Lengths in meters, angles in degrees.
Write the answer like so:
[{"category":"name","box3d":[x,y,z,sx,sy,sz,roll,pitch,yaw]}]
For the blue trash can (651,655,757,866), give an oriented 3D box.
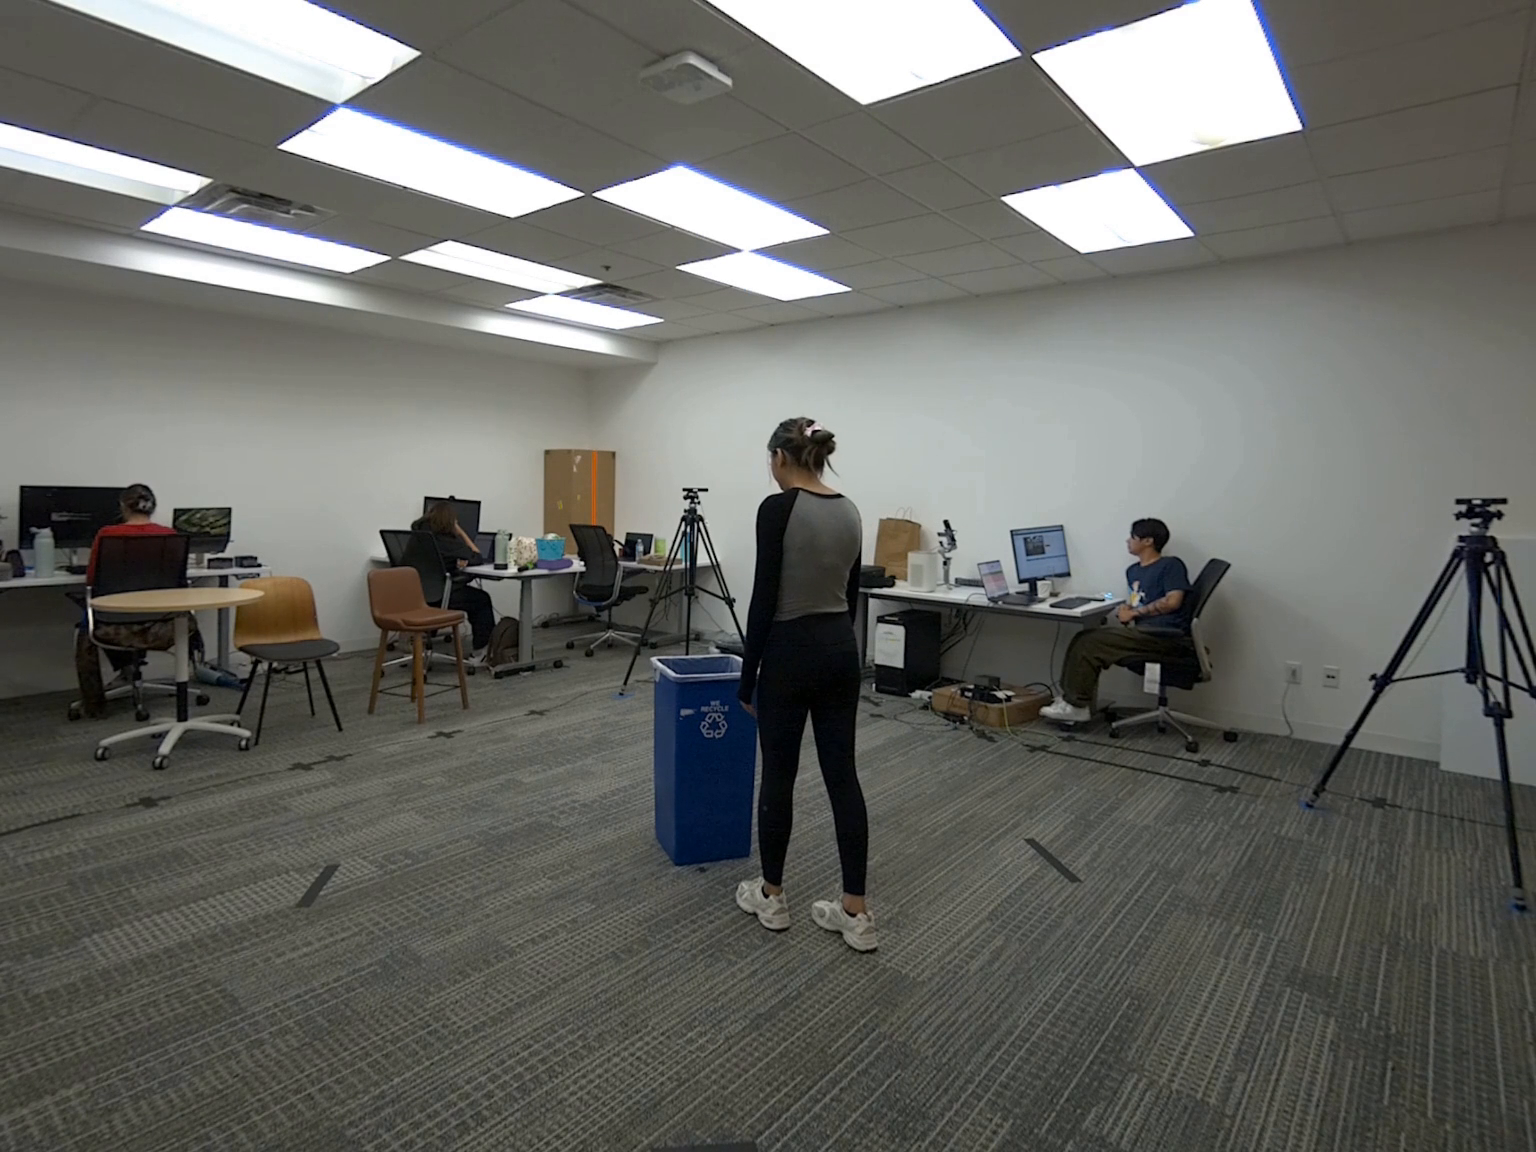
[{"category":"blue trash can","box3d":[-0.257,0.692,3.303,0.366,0.711,0.387,0,4,-21]}]
